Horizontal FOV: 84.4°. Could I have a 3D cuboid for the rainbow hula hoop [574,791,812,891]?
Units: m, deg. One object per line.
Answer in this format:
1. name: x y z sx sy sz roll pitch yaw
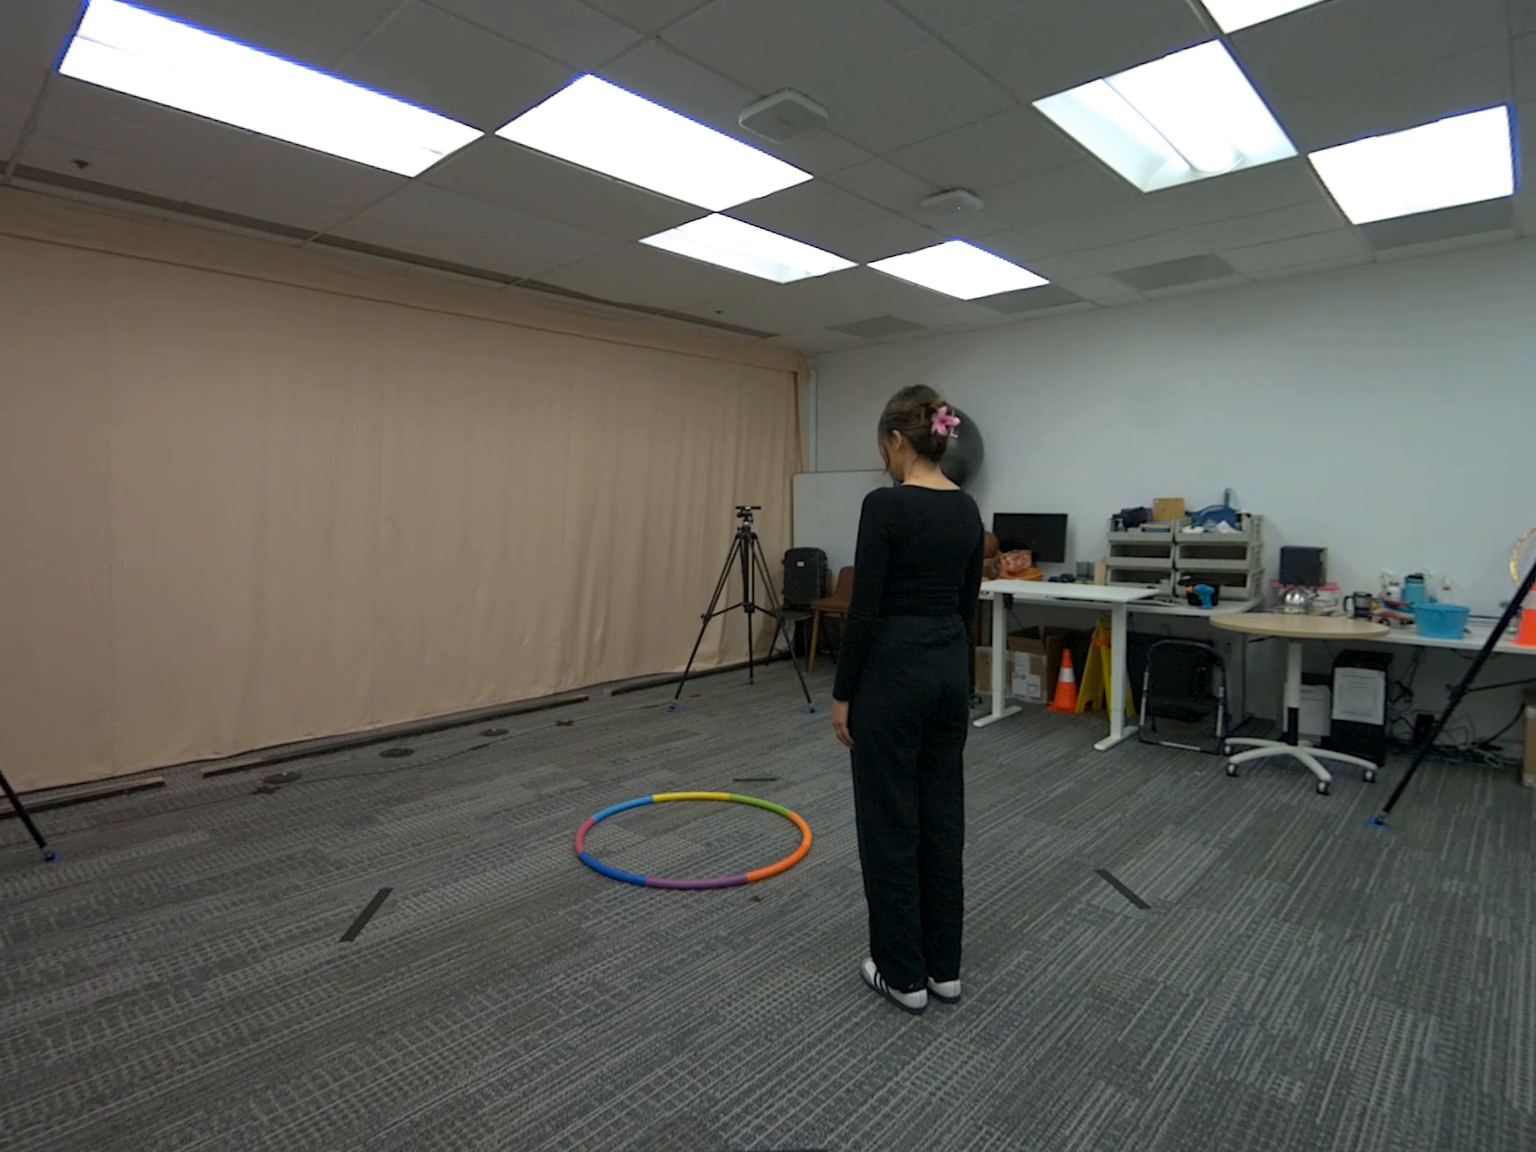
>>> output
1. rainbow hula hoop: -0.312 1.070 3.532 0.978 0.035 0.982 -1 5 -2
